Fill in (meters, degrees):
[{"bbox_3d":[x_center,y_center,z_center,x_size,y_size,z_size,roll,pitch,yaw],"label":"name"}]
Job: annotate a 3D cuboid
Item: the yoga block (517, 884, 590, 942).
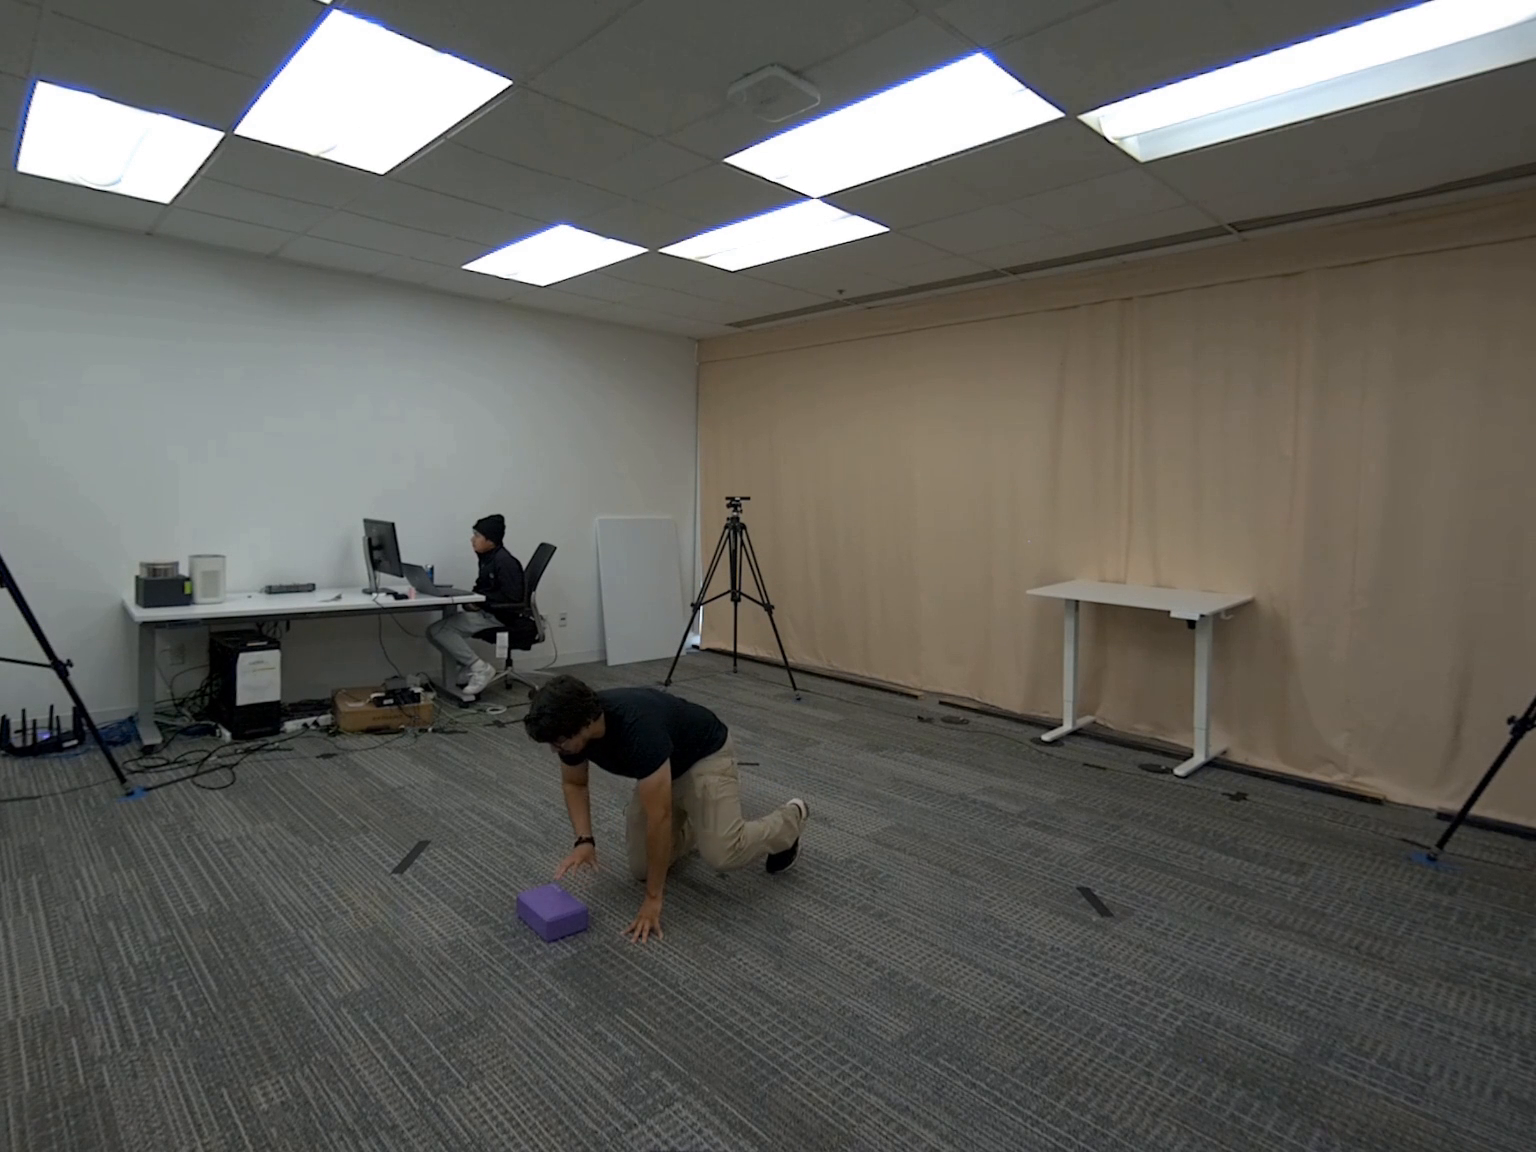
[{"bbox_3d":[-0.706,1.090,2.736,0.146,0.076,0.235,-5,7,-41],"label":"yoga block"}]
